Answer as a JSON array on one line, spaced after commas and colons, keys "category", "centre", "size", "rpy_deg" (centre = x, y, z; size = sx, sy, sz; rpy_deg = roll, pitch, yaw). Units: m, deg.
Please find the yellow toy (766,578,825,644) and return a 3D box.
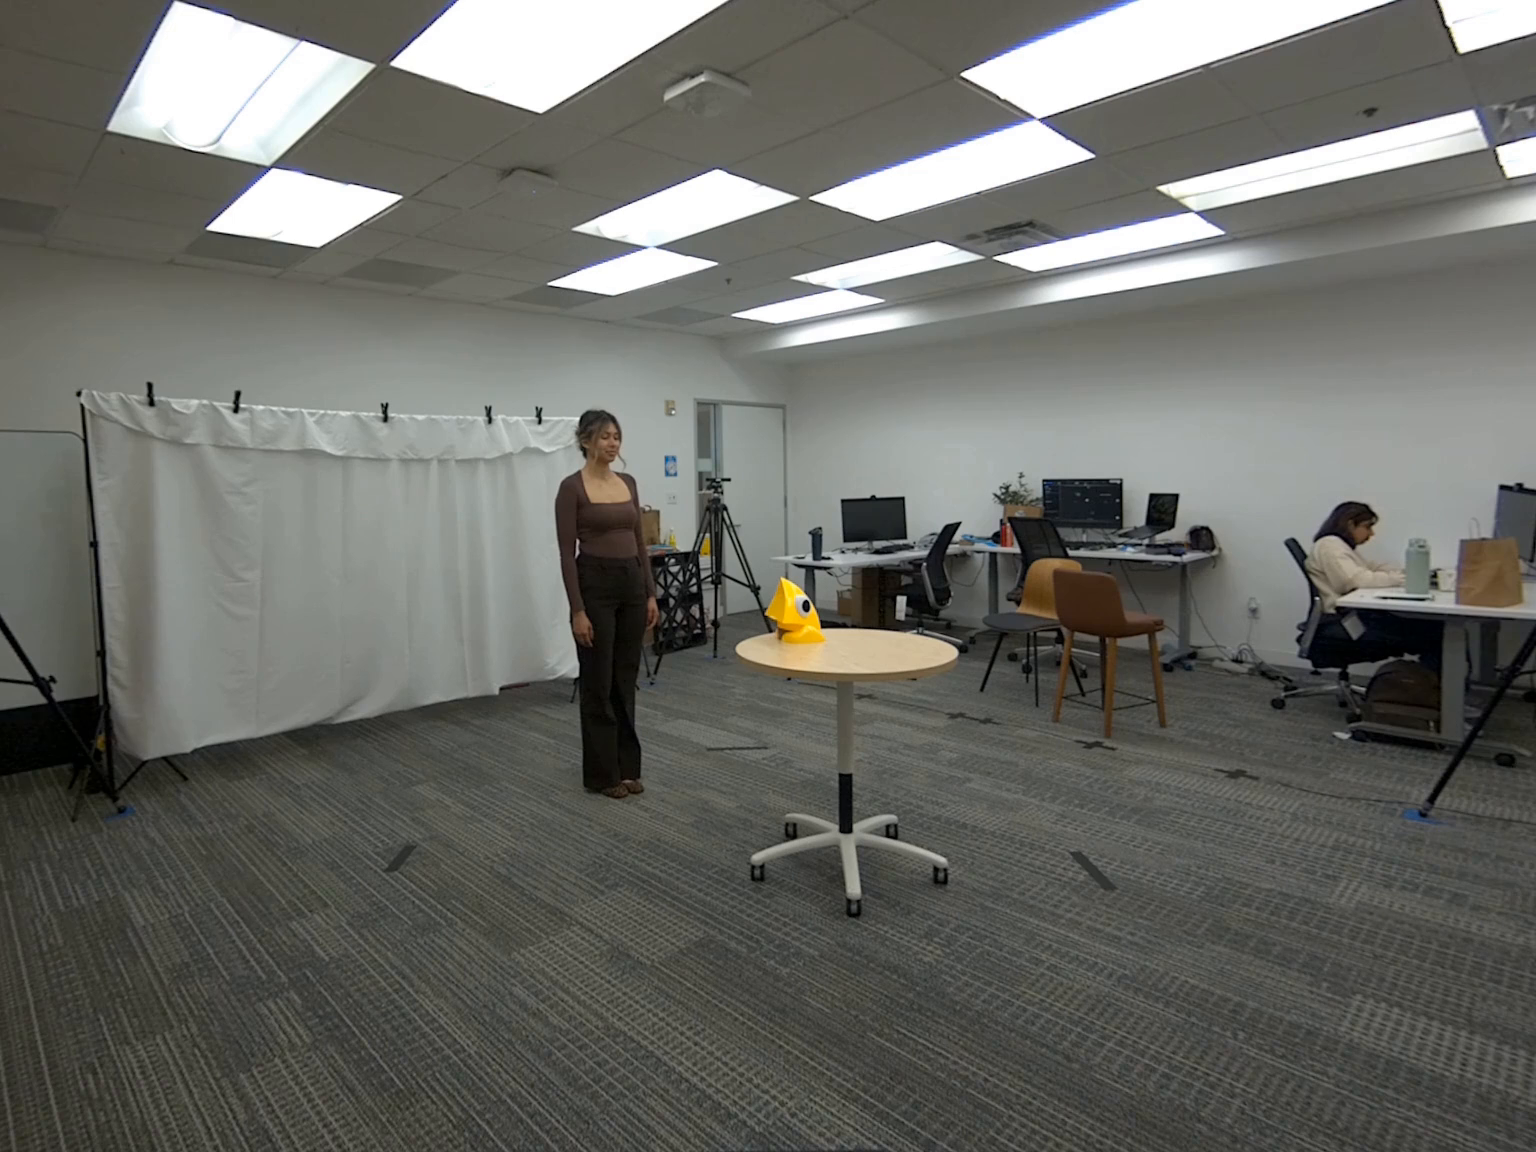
[{"category": "yellow toy", "centre": [0.110, 0.120, 3.170], "size": [0.190, 0.230, 0.209], "rpy_deg": [-3, 5, -17]}]
